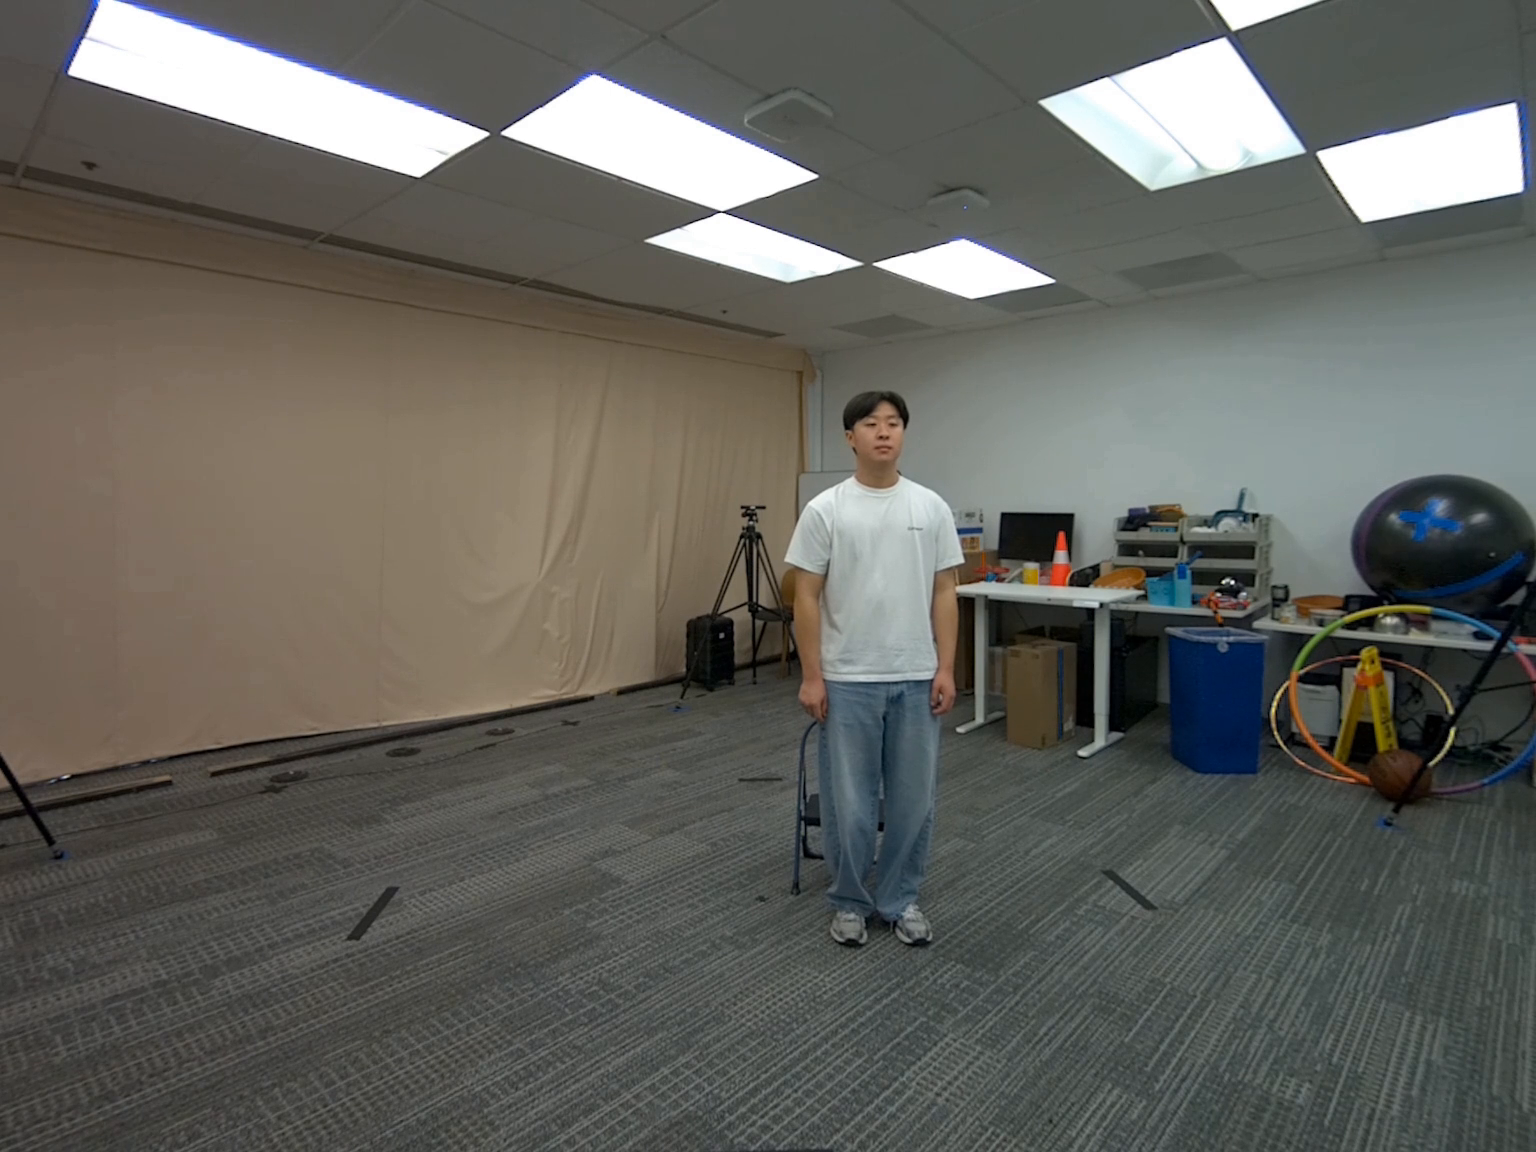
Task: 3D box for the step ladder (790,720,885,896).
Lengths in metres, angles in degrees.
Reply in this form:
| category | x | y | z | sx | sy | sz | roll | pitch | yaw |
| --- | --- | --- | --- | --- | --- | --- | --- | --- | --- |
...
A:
| category | x | y | z | sx | sy | sz | roll | pitch | yaw |
| --- | --- | --- | --- | --- | --- | --- | --- | --- | --- |
| step ladder | 0.327 | 0.828 | 3.124 | 0.436 | 0.605 | 0.346 | 1 | 4 | 11 |
